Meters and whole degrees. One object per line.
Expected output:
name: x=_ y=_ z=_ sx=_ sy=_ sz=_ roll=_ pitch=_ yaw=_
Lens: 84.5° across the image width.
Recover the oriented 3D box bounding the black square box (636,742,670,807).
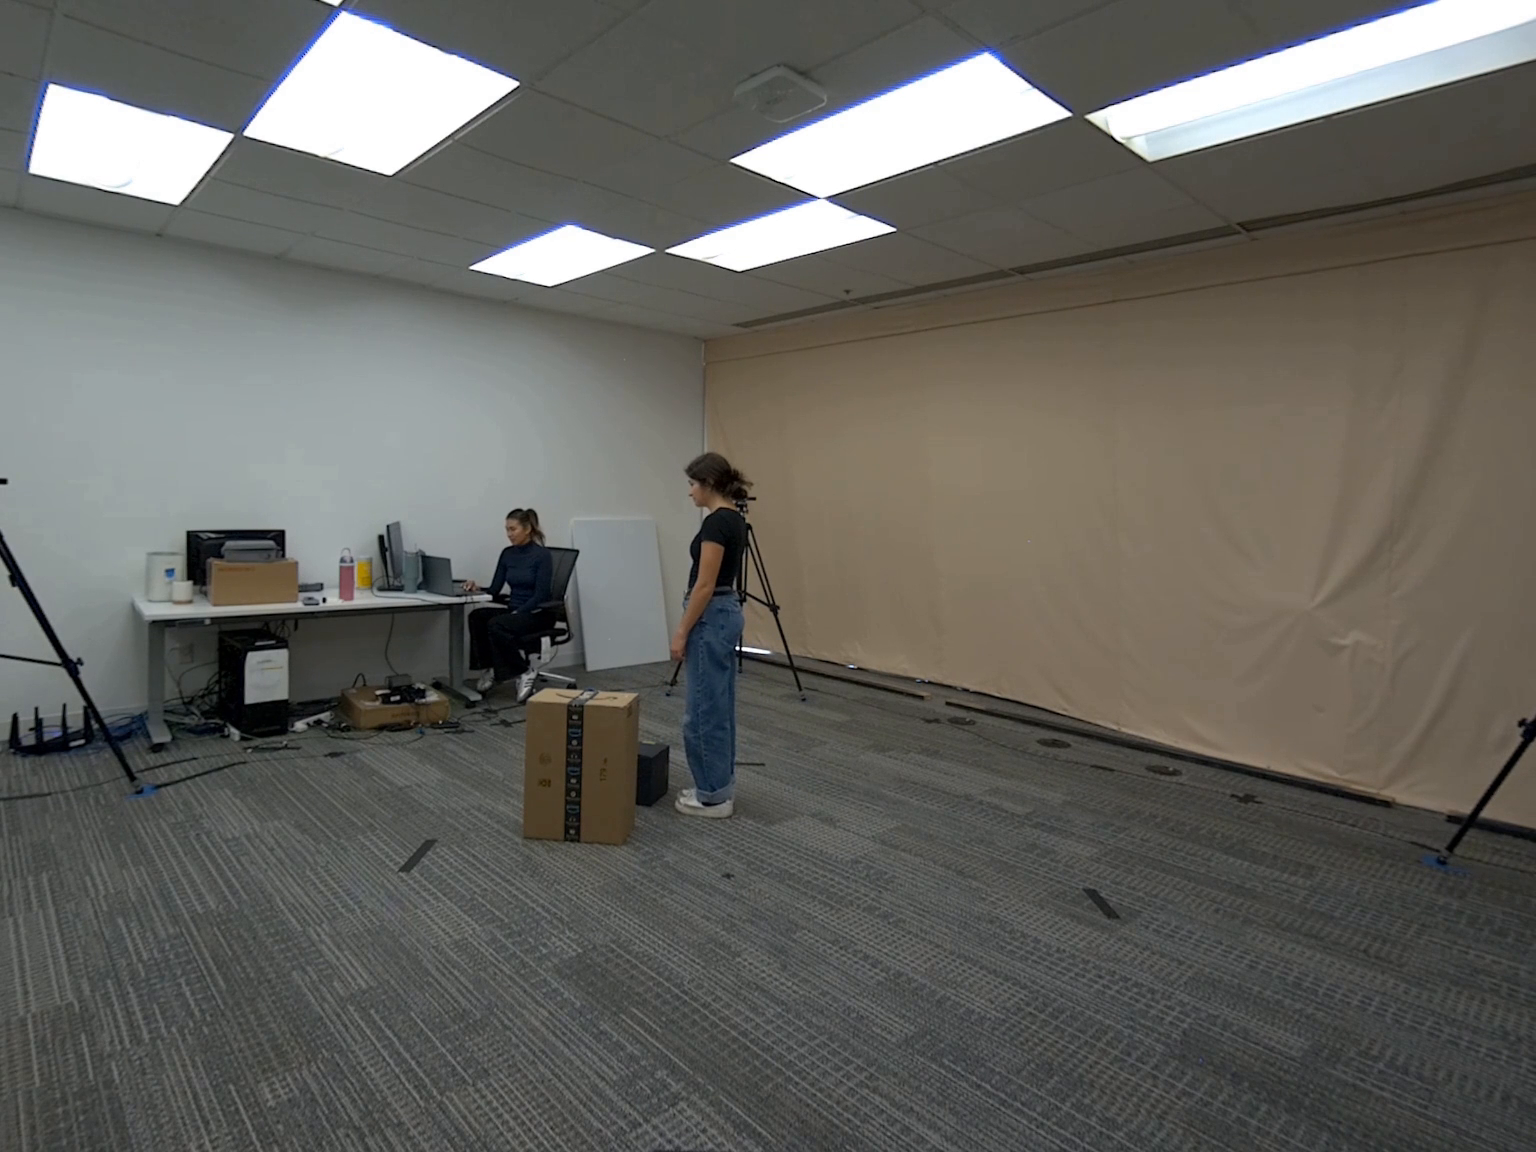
black square box: x=-0.573 y=0.901 z=3.900 sx=0.158 sy=0.227 sz=0.214 roll=3 pitch=4 yaw=16
